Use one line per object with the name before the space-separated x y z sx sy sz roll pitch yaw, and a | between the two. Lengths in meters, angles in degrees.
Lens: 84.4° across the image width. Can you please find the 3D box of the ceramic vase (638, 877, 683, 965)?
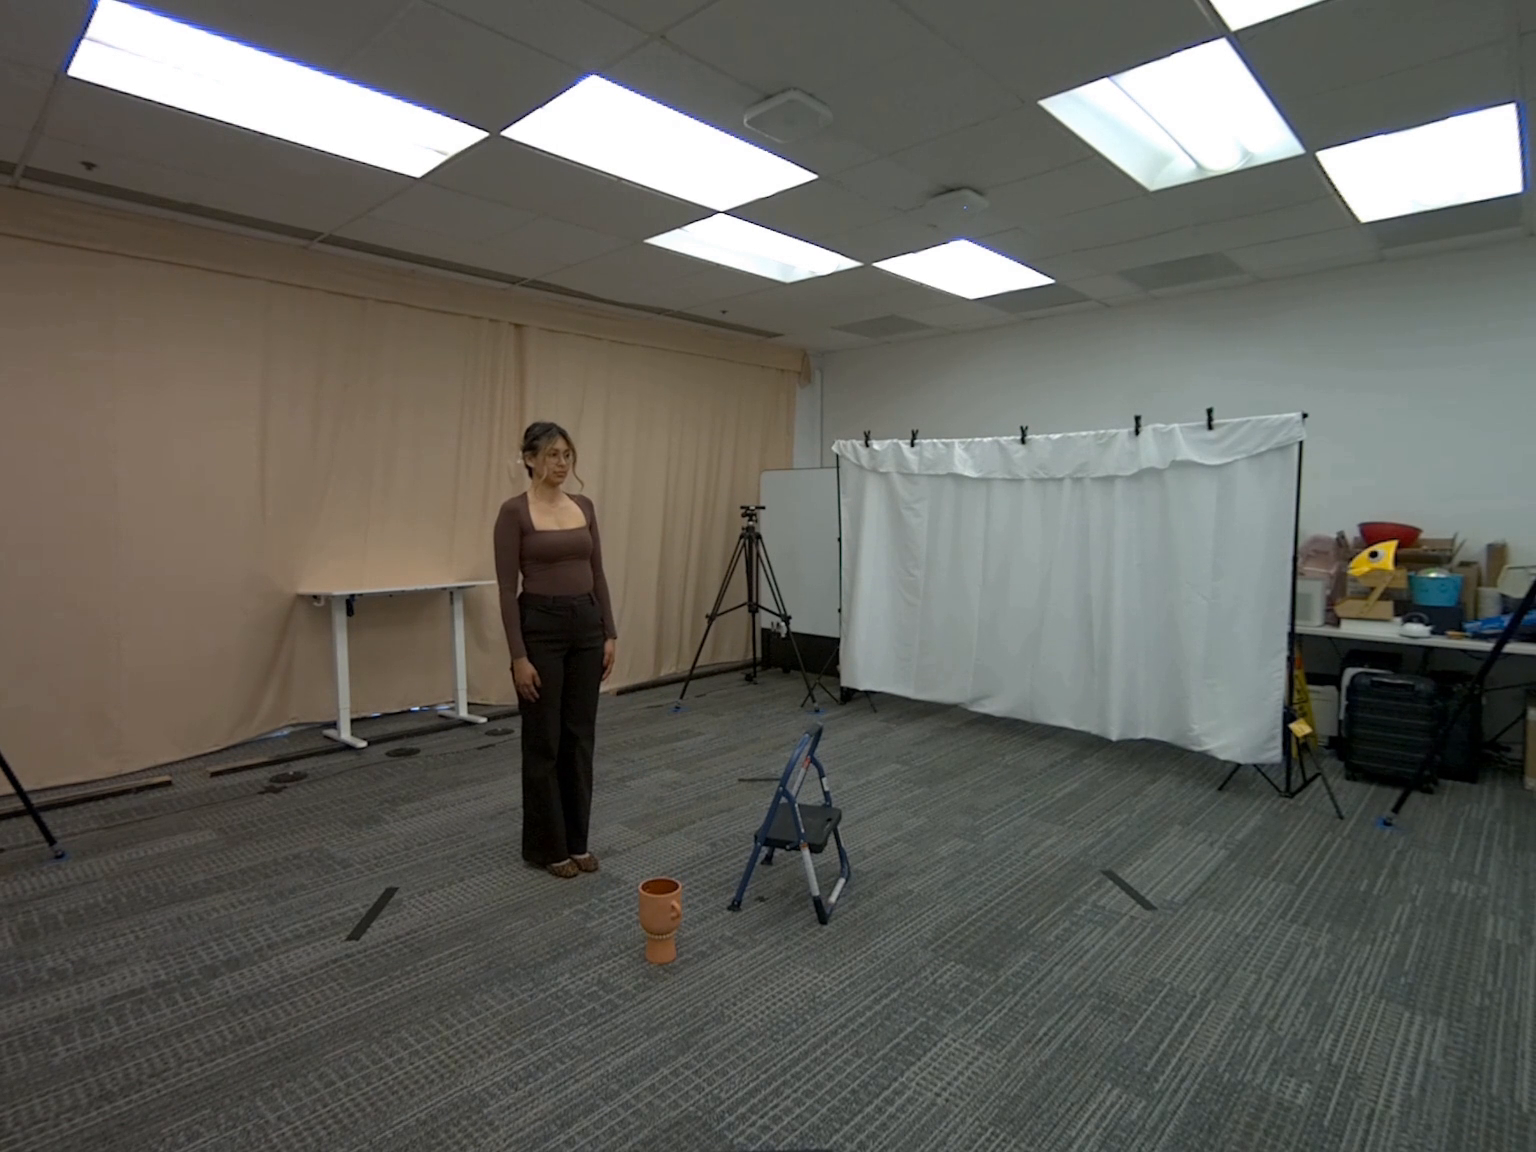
ceramic vase | -0.332 1.067 2.596 0.134 0.219 0.160 -1 3 -4
